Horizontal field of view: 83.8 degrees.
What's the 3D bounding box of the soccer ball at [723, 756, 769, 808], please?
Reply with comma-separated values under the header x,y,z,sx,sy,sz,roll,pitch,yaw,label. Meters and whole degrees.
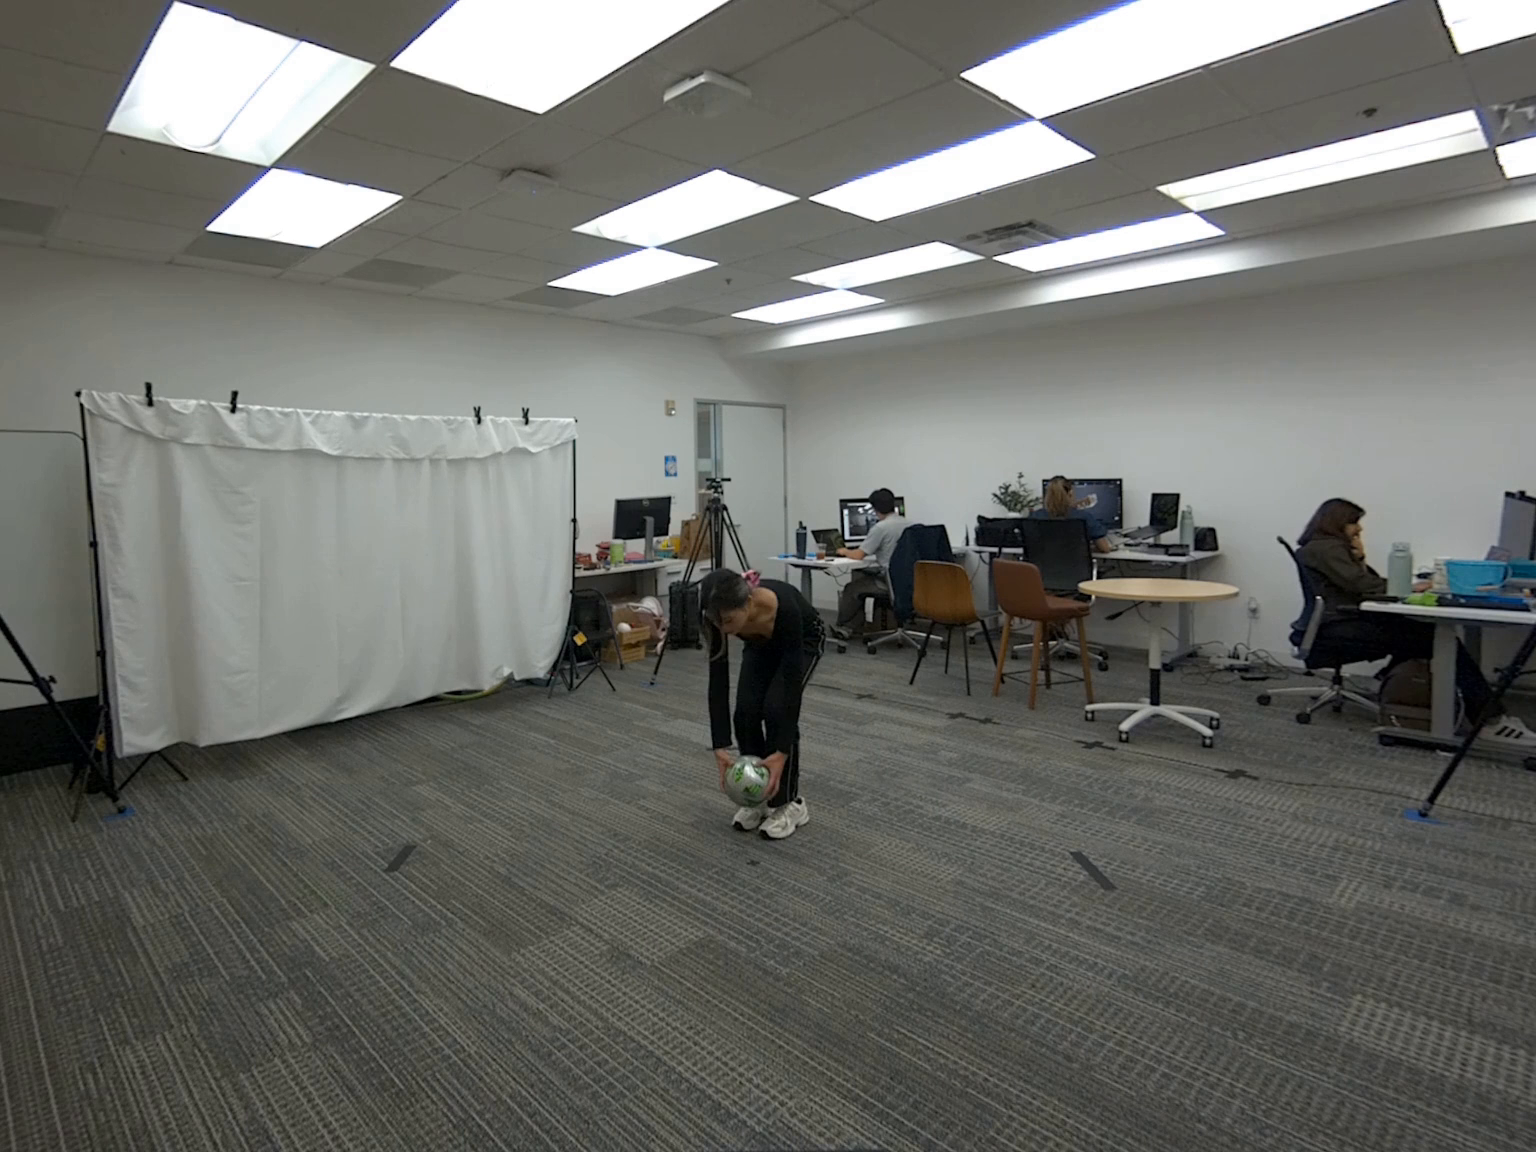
x,y,z,sx,sy,sz,roll,pitch,yaw,label
-0.071,0.754,3.175,0.187,0.187,0.188,-1,5,-2,soccer ball
